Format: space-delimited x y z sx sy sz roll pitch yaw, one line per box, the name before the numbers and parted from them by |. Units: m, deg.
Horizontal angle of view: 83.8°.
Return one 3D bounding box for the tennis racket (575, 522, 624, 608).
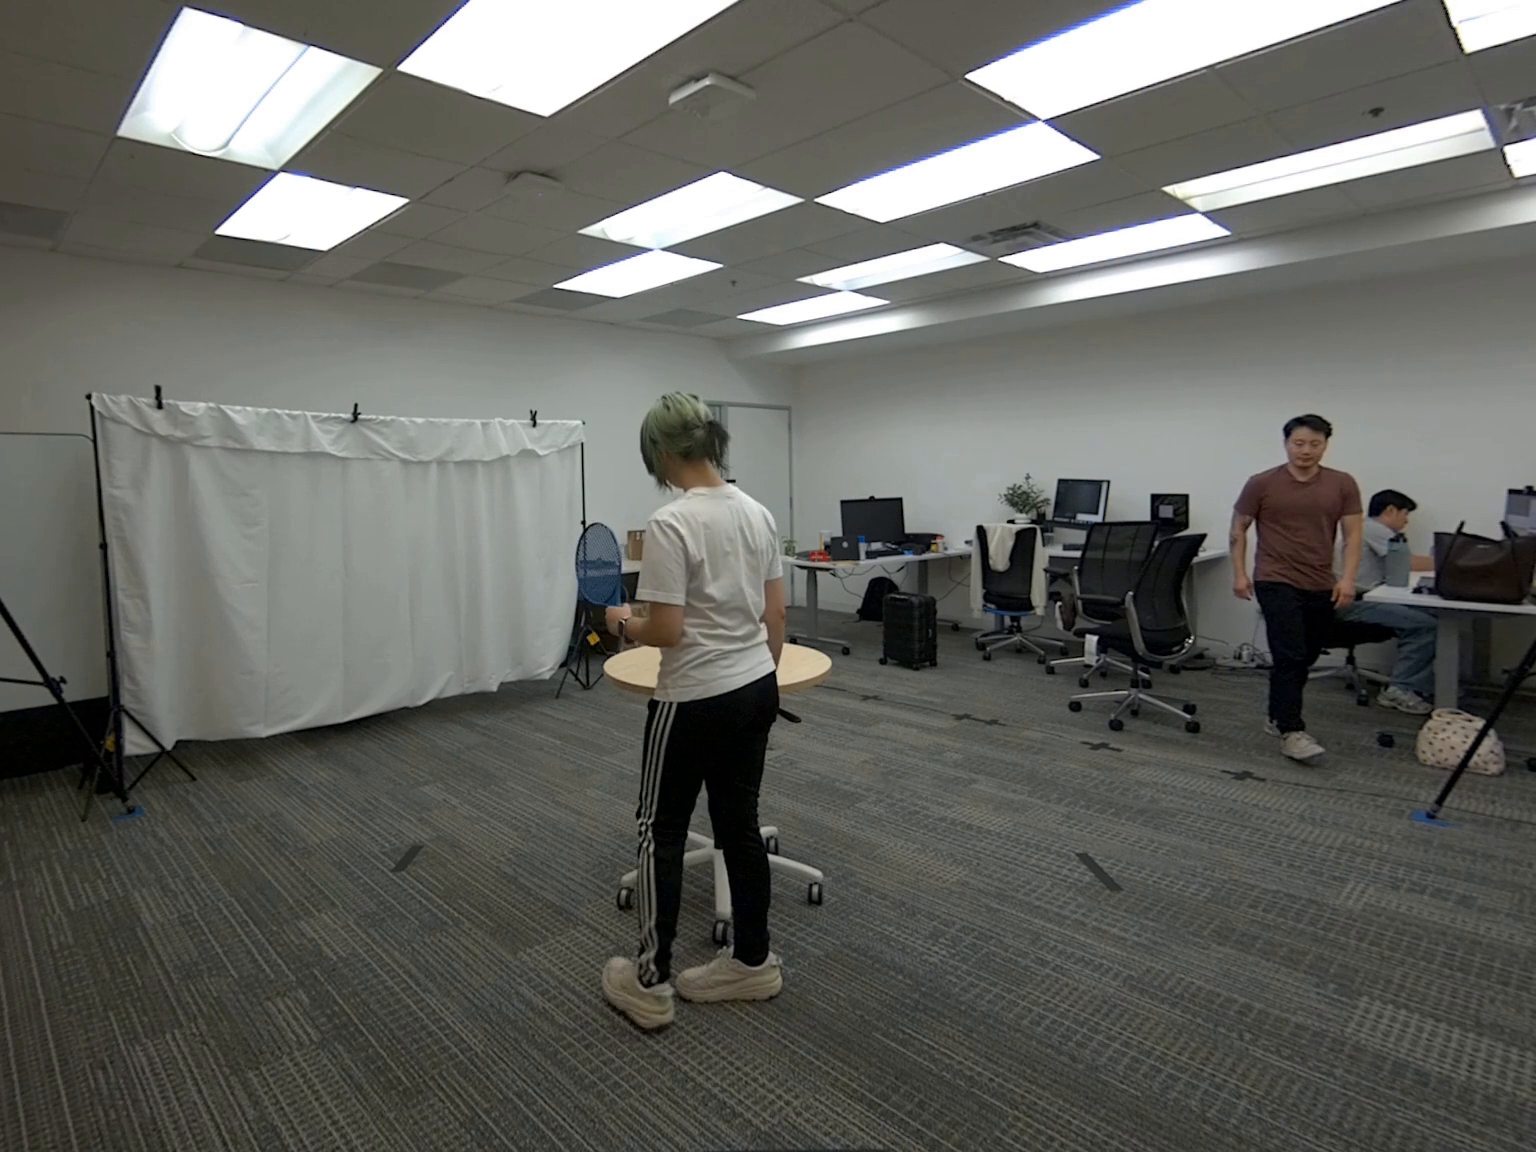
tennis racket | -0.451 0.019 2.460 0.031 0.213 0.449 10 36 -44
